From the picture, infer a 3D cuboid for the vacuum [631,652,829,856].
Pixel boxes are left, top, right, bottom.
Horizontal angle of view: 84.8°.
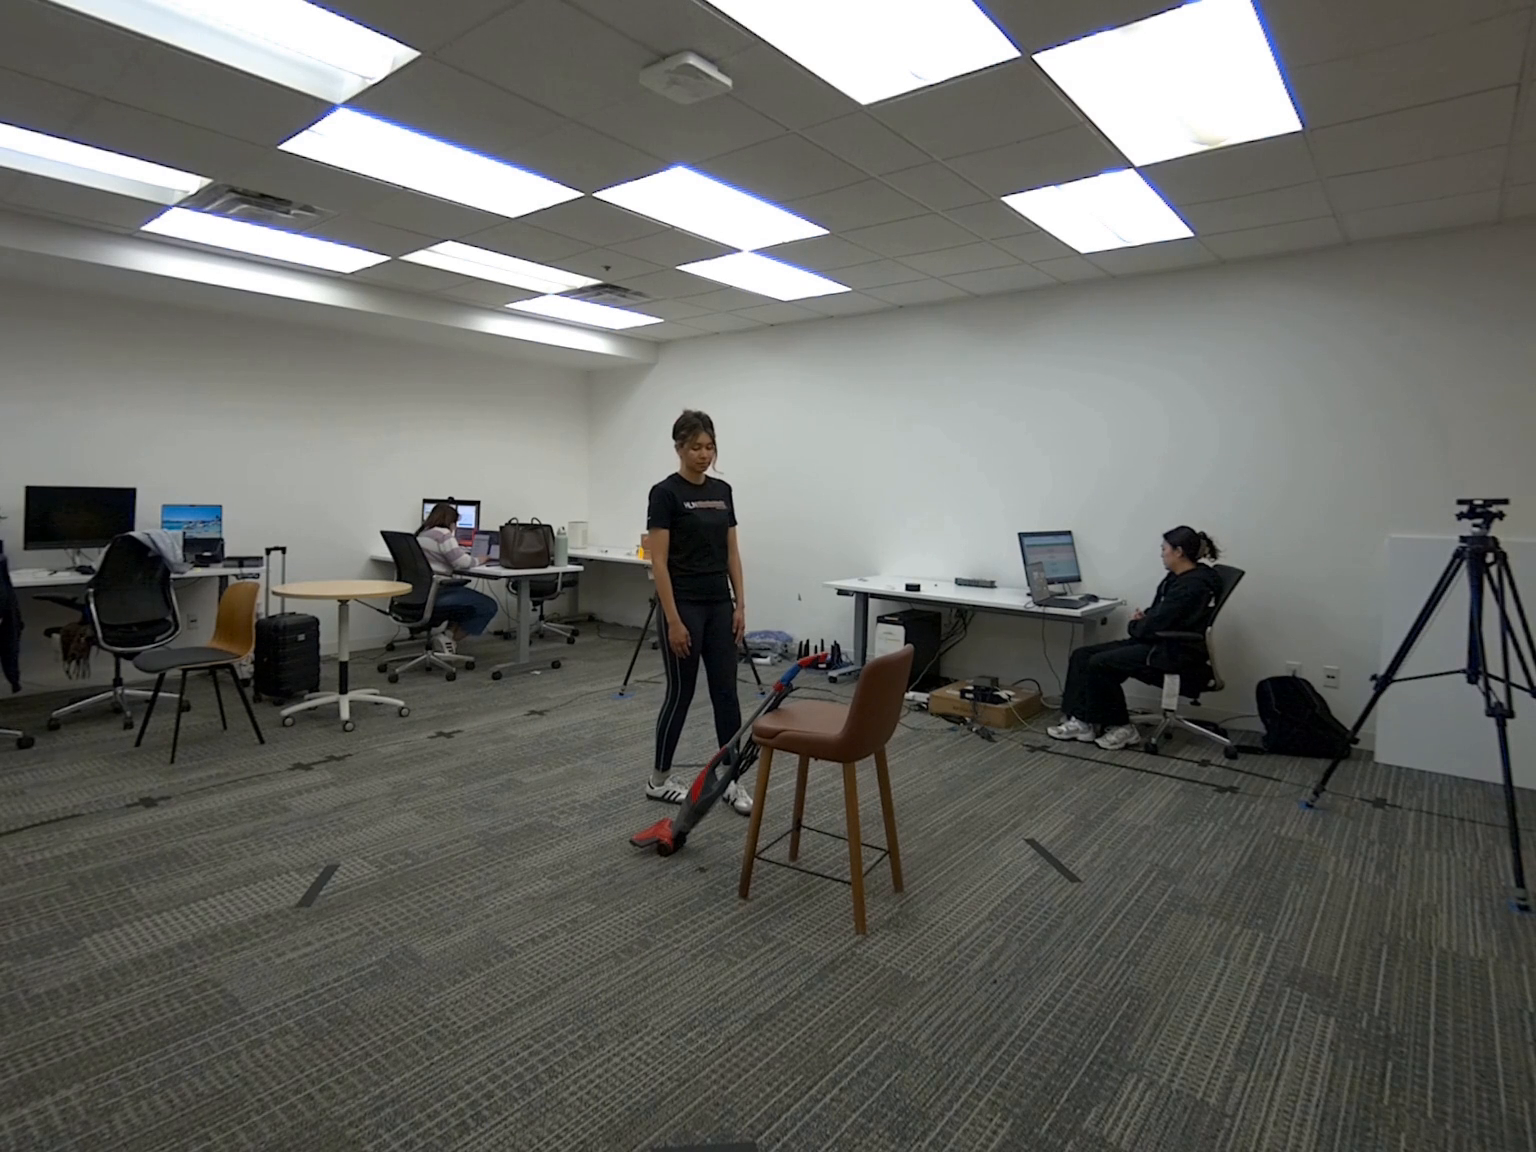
[{"bbox_3d":[-0.130,0.648,3.109,0.148,1.047,0.247,45,22,17],"label":"vacuum"}]
